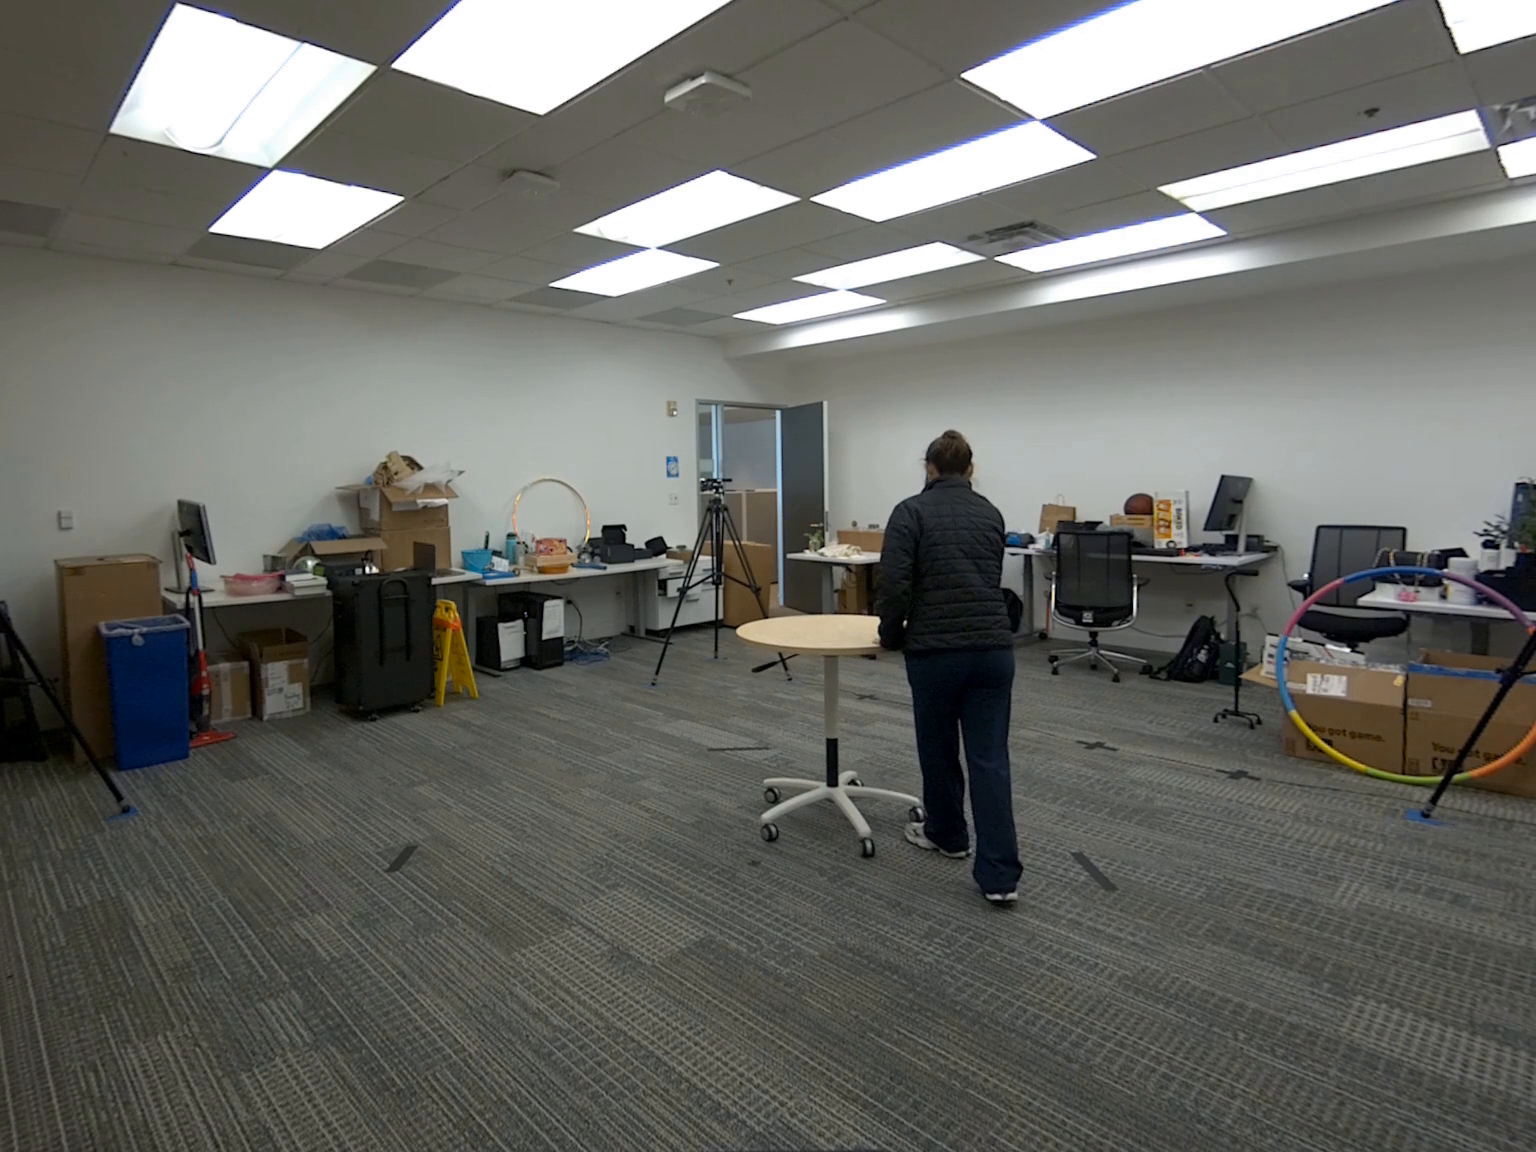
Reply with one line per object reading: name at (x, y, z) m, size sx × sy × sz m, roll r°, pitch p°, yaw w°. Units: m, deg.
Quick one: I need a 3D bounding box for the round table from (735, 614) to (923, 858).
round table at (0.269, 0.603, 3.480) m, size 0.784 × 0.784 × 0.789 m, roll -1°, pitch 5°, yaw -2°
